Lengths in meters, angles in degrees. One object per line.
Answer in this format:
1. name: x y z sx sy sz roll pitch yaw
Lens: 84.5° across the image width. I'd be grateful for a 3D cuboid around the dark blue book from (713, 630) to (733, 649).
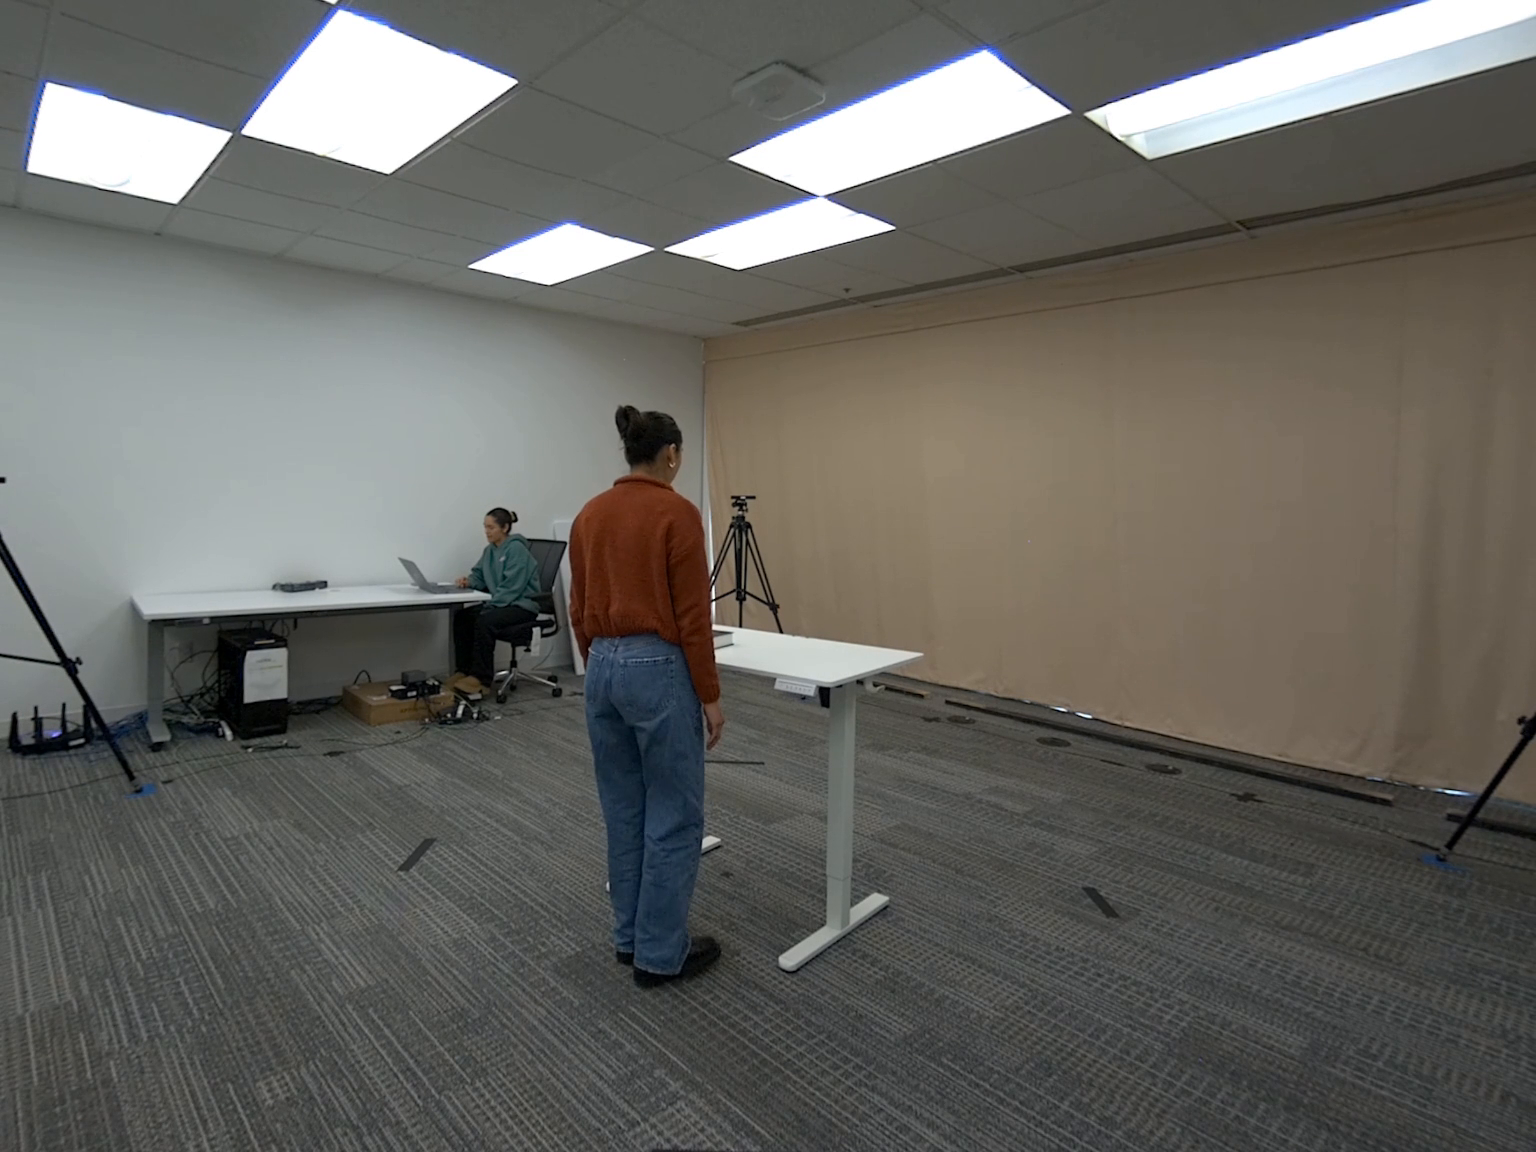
1. dark blue book: -0.243 0.222 2.859 0.167 0.045 0.240 4 6 31
